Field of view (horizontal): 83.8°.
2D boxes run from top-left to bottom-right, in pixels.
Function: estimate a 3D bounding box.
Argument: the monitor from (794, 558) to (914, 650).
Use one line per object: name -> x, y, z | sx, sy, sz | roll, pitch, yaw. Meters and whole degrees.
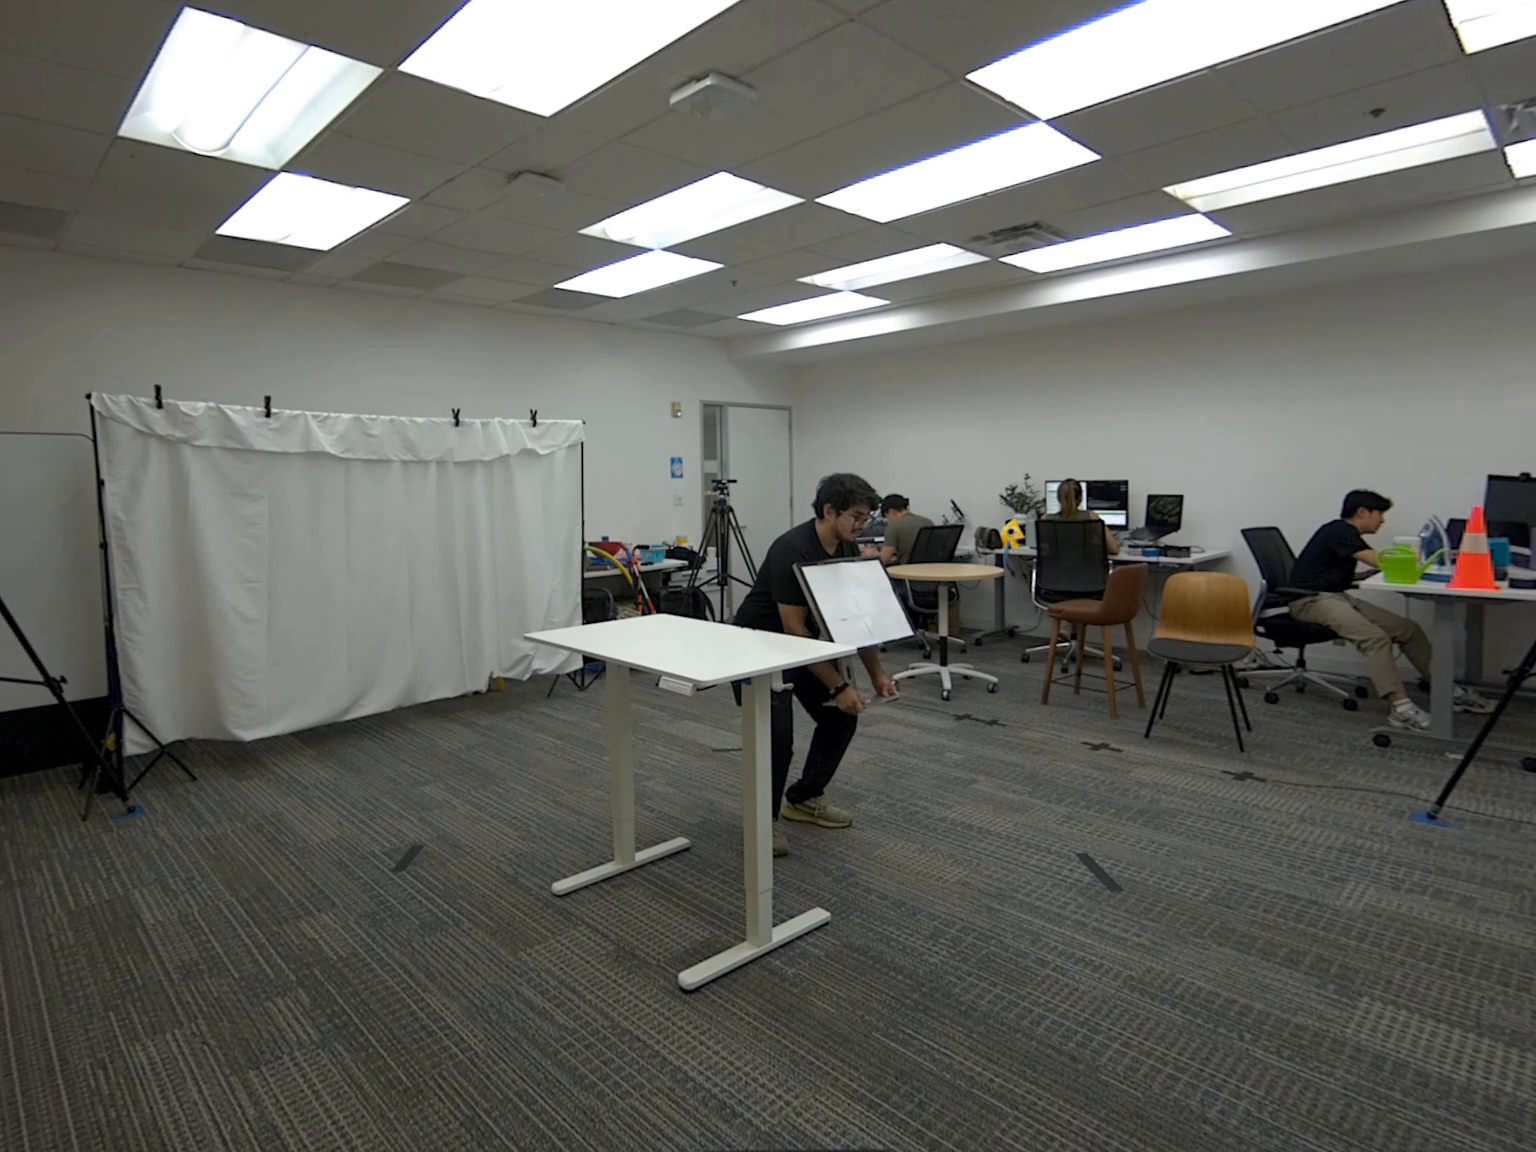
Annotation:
monitor -> 0.306, 0.211, 3.220 | 0.213, 0.562, 0.550 | -27, -15, 39
